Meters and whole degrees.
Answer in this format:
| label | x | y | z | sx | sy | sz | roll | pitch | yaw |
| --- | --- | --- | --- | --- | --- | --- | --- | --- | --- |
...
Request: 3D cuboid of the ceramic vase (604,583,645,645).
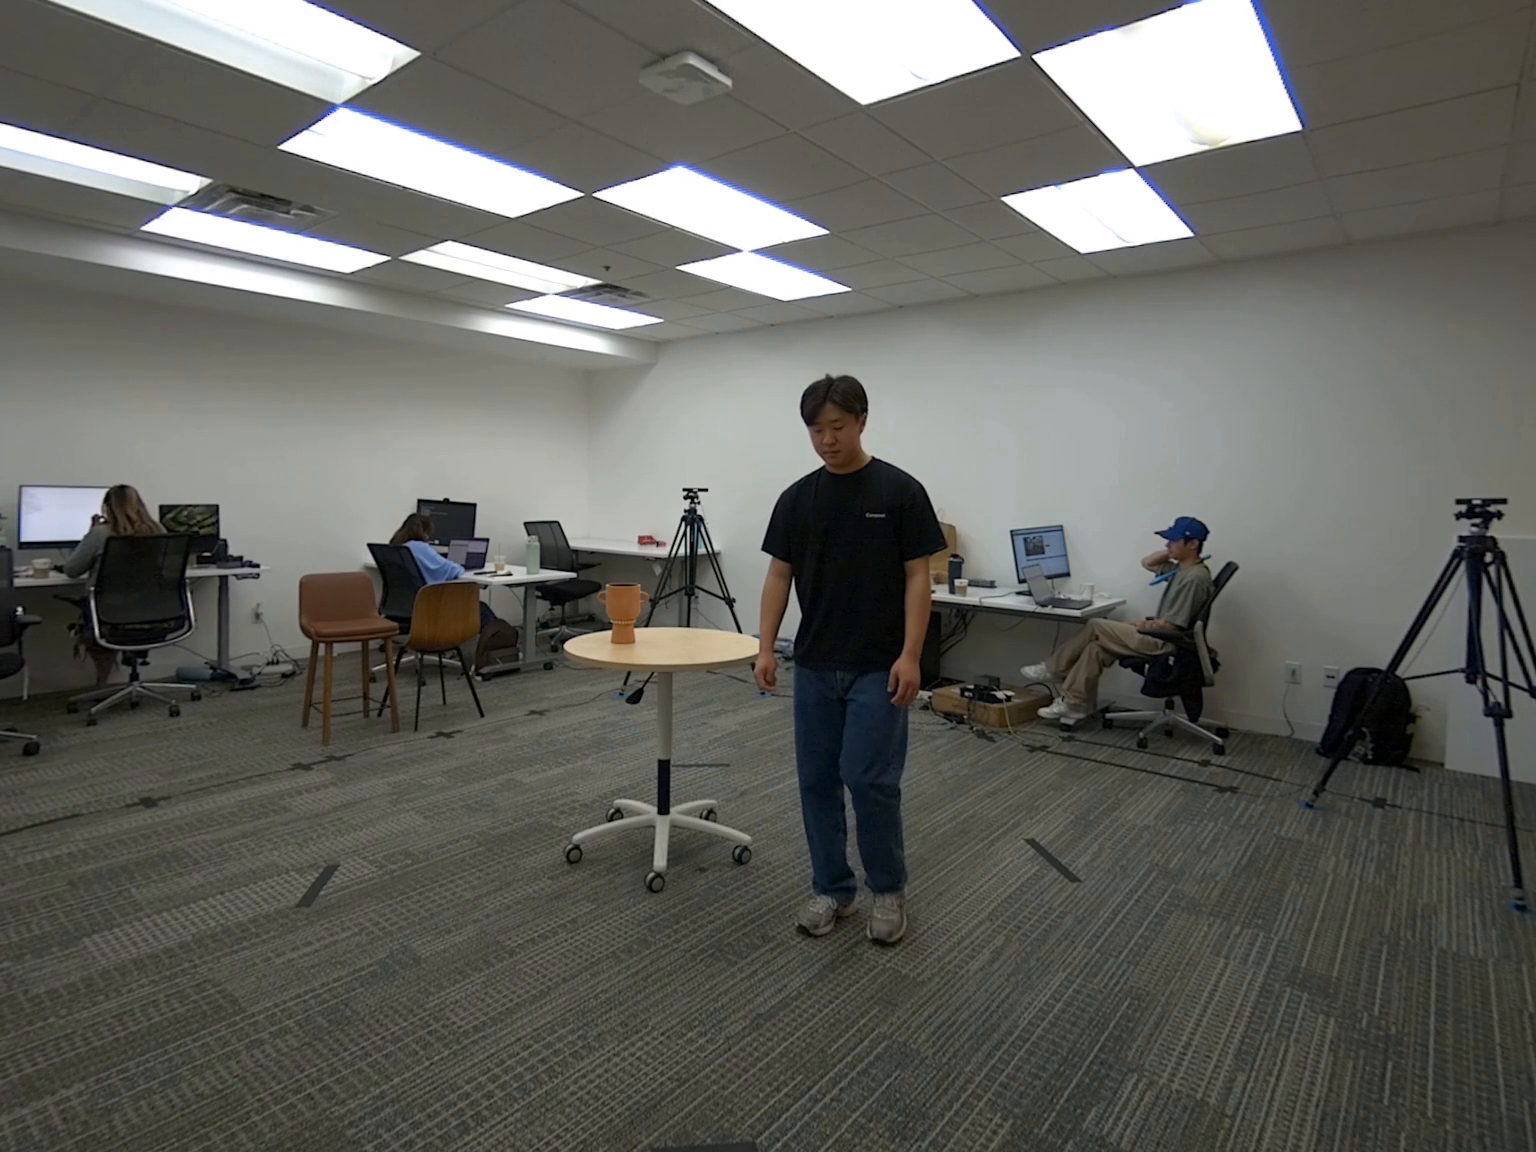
| label | x | y | z | sx | sy | sz | roll | pitch | yaw |
| --- | --- | --- | --- | --- | --- | --- | --- | --- | --- |
| ceramic vase | -0.571 | 0.143 | 3.270 | 0.164 | 0.219 | 0.131 | 5 | 7 | 41 |
